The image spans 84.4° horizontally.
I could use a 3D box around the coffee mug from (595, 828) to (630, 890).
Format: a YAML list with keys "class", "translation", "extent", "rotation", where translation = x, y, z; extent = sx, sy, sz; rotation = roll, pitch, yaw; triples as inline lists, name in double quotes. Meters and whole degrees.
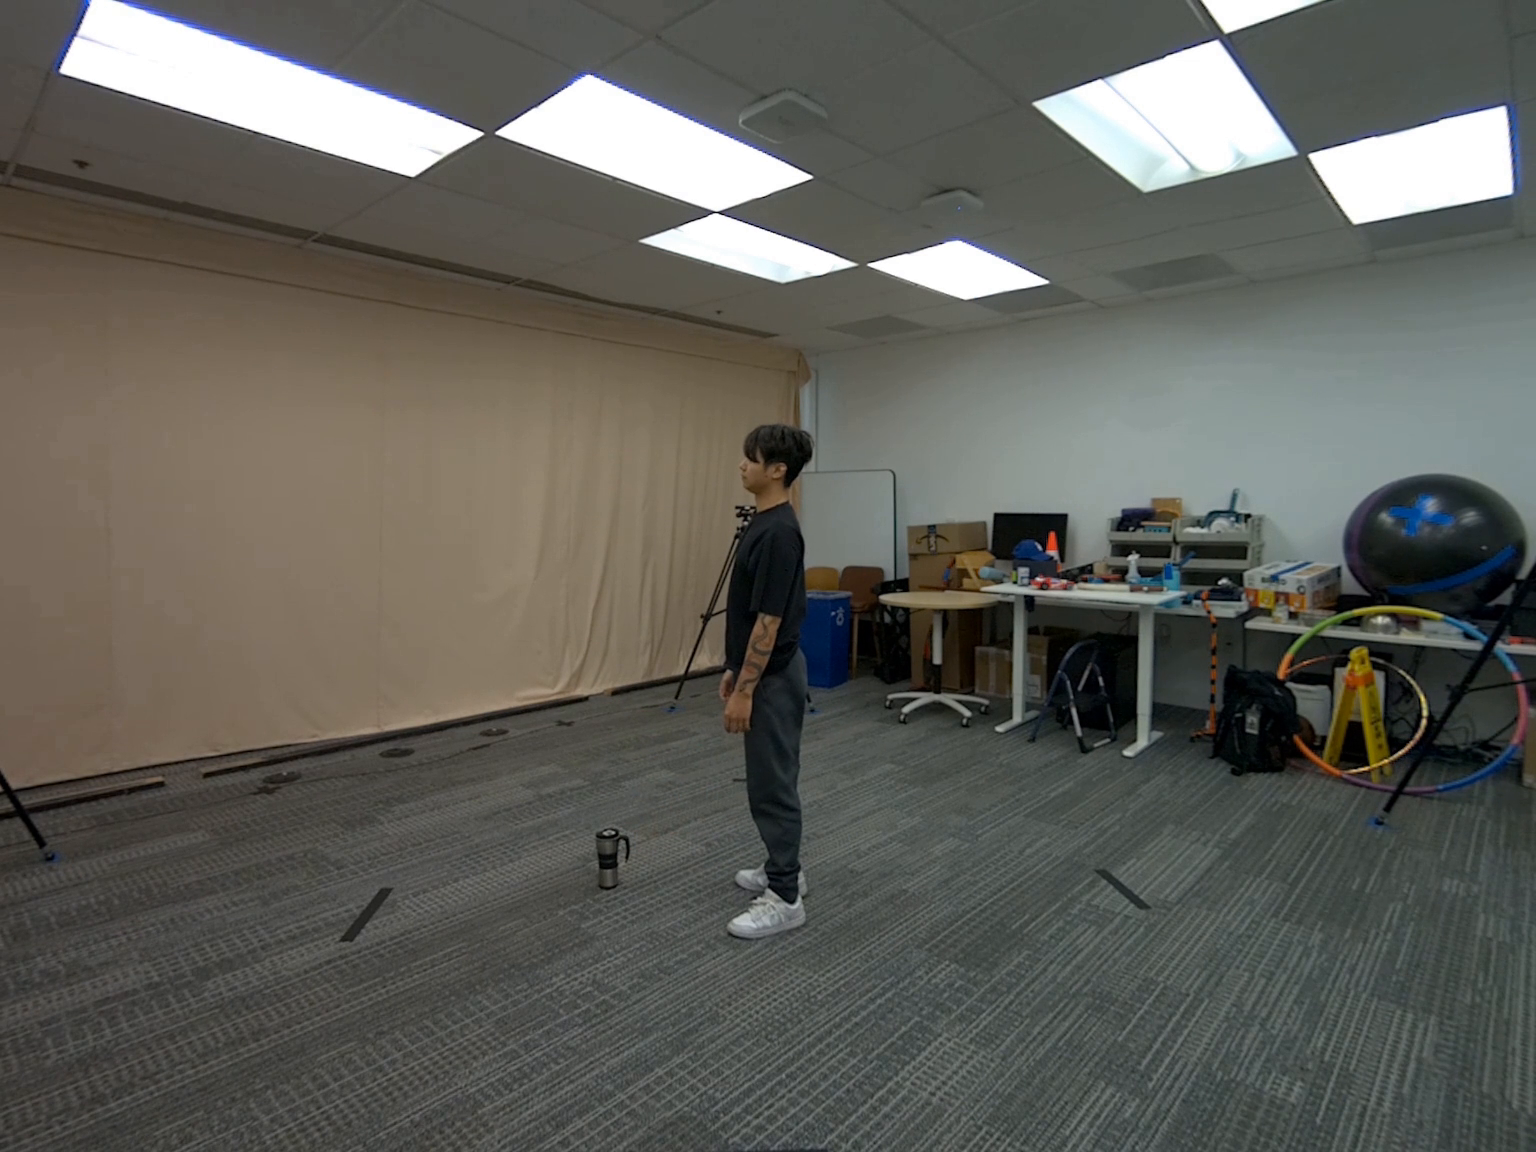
- class: "coffee mug"
  translation: [-0.576, 1.043, 3.079]
  extent: [0.126, 0.203, 0.085]
  rotation: [-2, -1, 36]
